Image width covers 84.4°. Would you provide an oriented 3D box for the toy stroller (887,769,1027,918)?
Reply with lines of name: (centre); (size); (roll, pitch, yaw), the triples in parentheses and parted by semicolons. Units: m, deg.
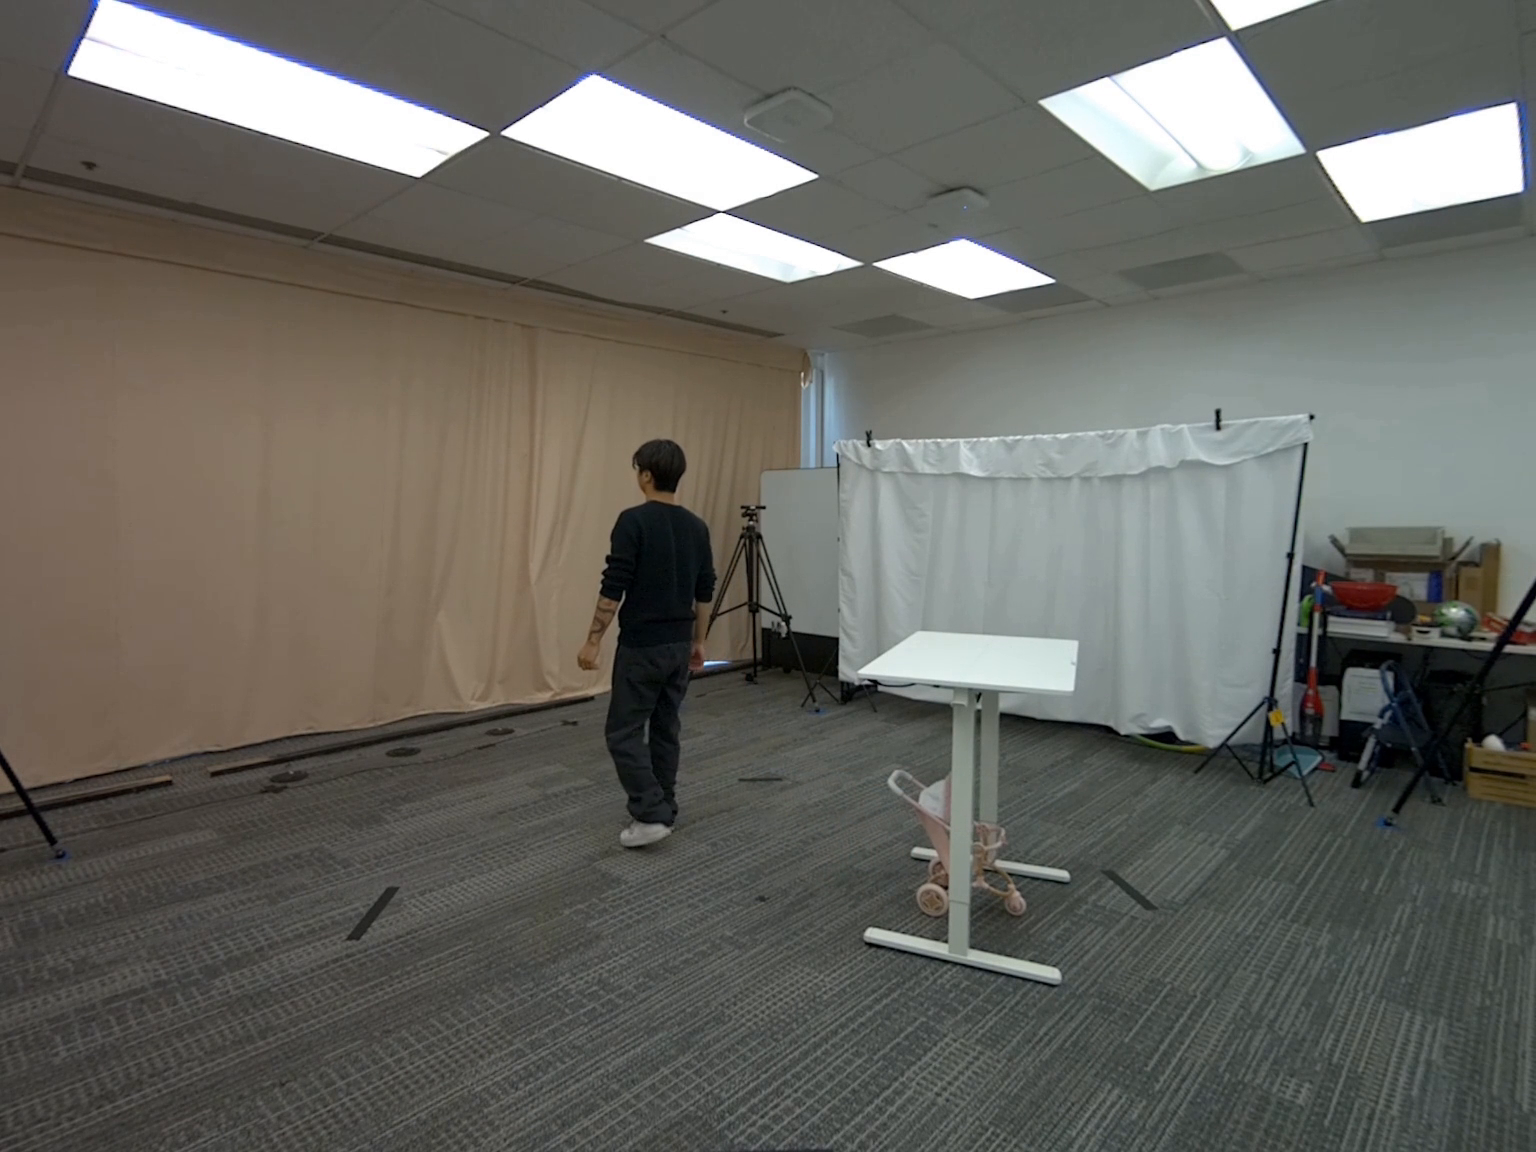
toy stroller: (0.668, 0.925, 2.926); (0.348, 0.537, 0.274); (-17, -5, 27)
